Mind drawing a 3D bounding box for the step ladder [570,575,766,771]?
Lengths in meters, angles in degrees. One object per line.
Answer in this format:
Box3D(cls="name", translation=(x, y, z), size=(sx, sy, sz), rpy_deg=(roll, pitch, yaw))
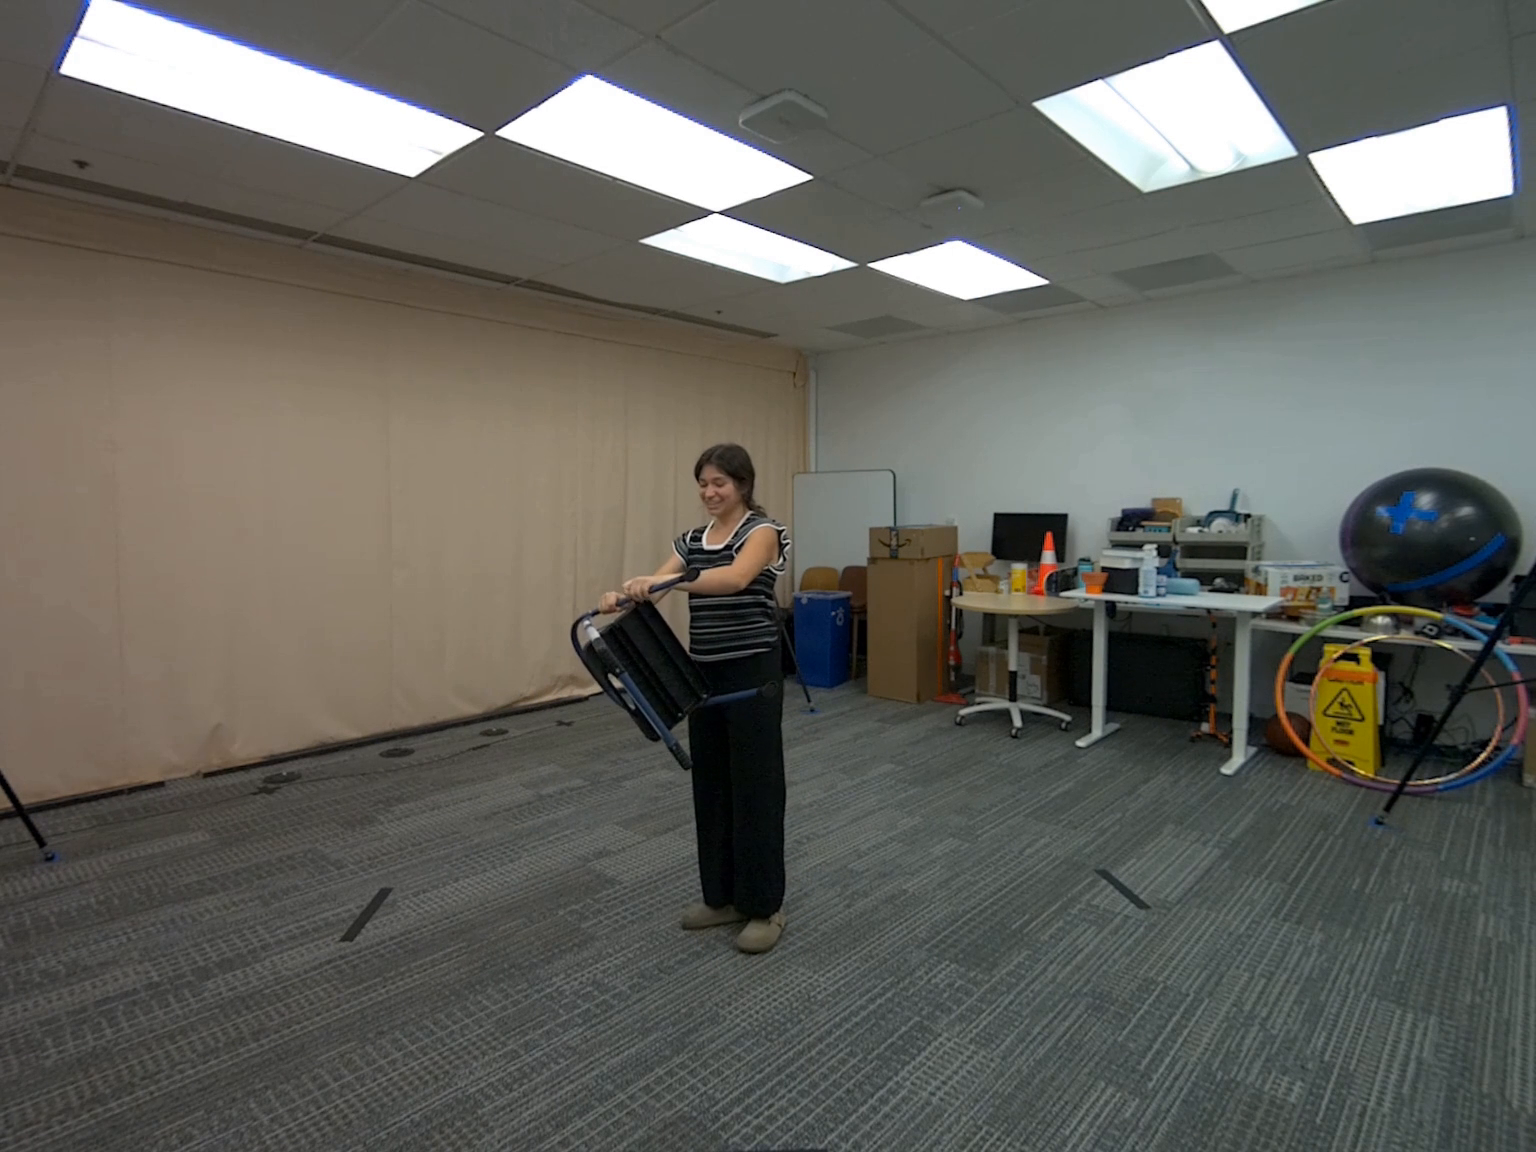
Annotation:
Box3D(cls="step ladder", translation=(-0.352, 0.262, 2.493), size=(0.346, 0.425, 0.621), rpy_deg=(-39, 15, -25))
